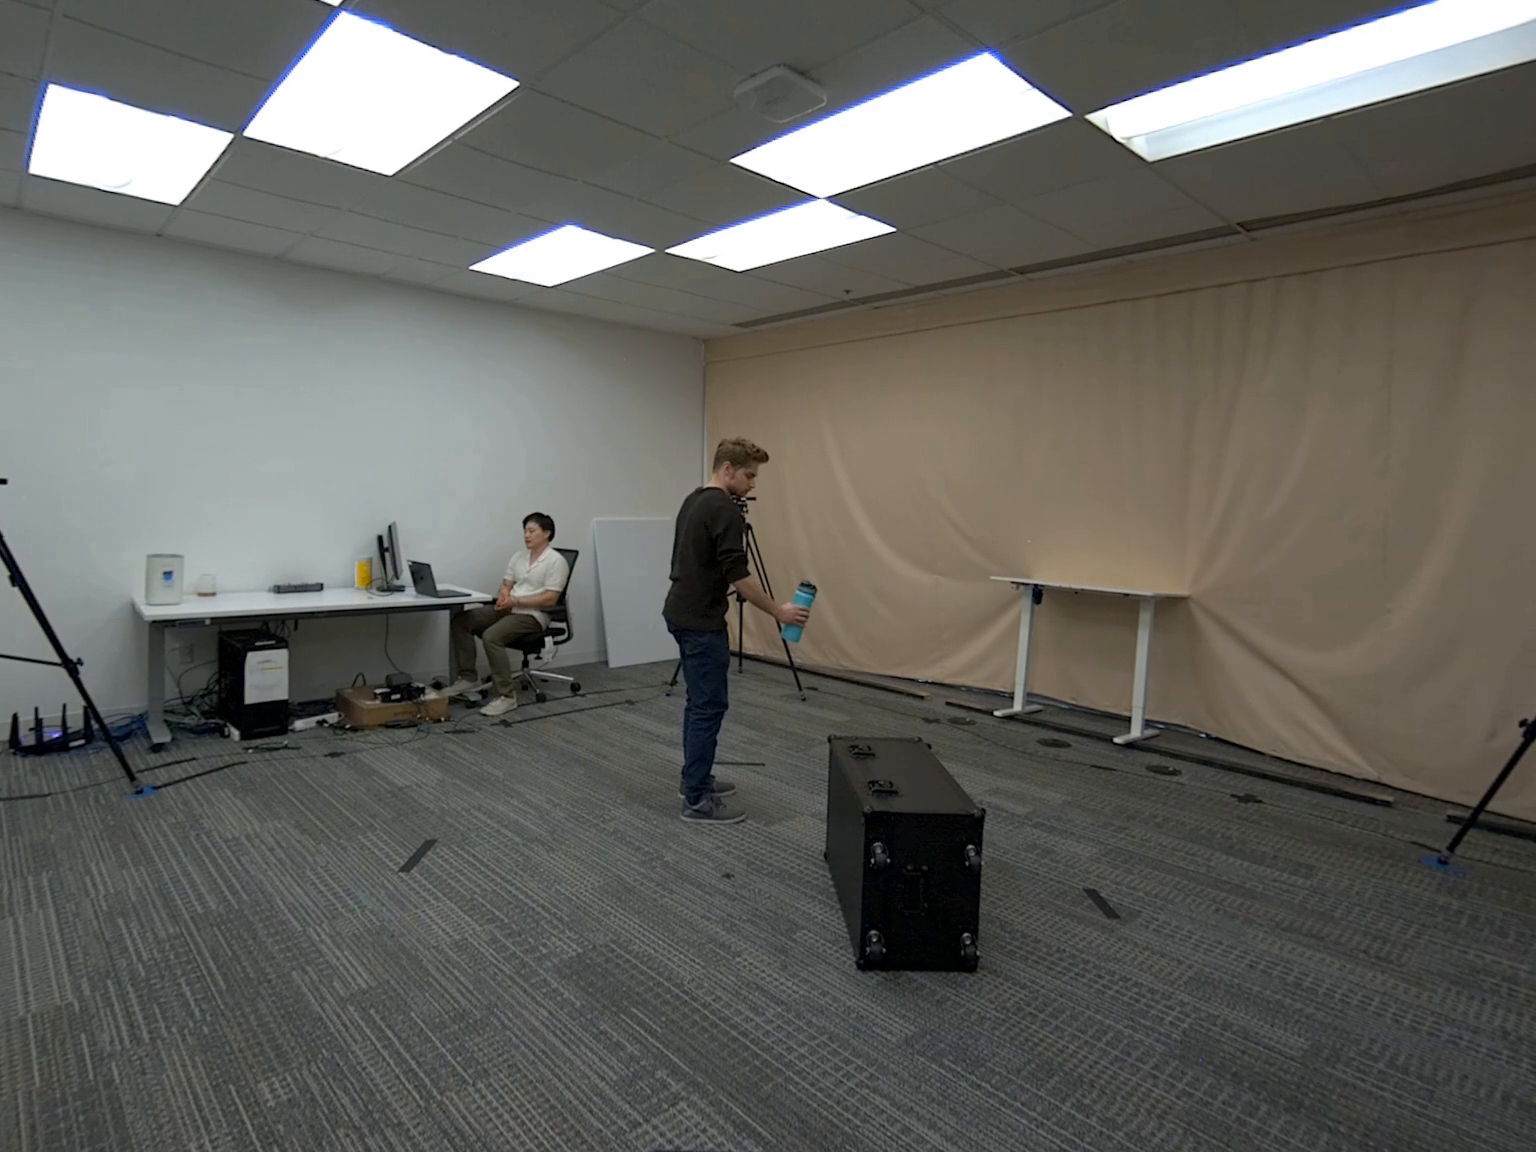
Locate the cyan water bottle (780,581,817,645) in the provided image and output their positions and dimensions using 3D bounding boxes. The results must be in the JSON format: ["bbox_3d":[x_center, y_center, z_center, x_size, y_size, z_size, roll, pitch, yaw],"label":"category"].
[{"bbox_3d":[0.132,0.155,3.813,0.092,0.283,0.093,19,5,-3],"label":"cyan water bottle"}]
